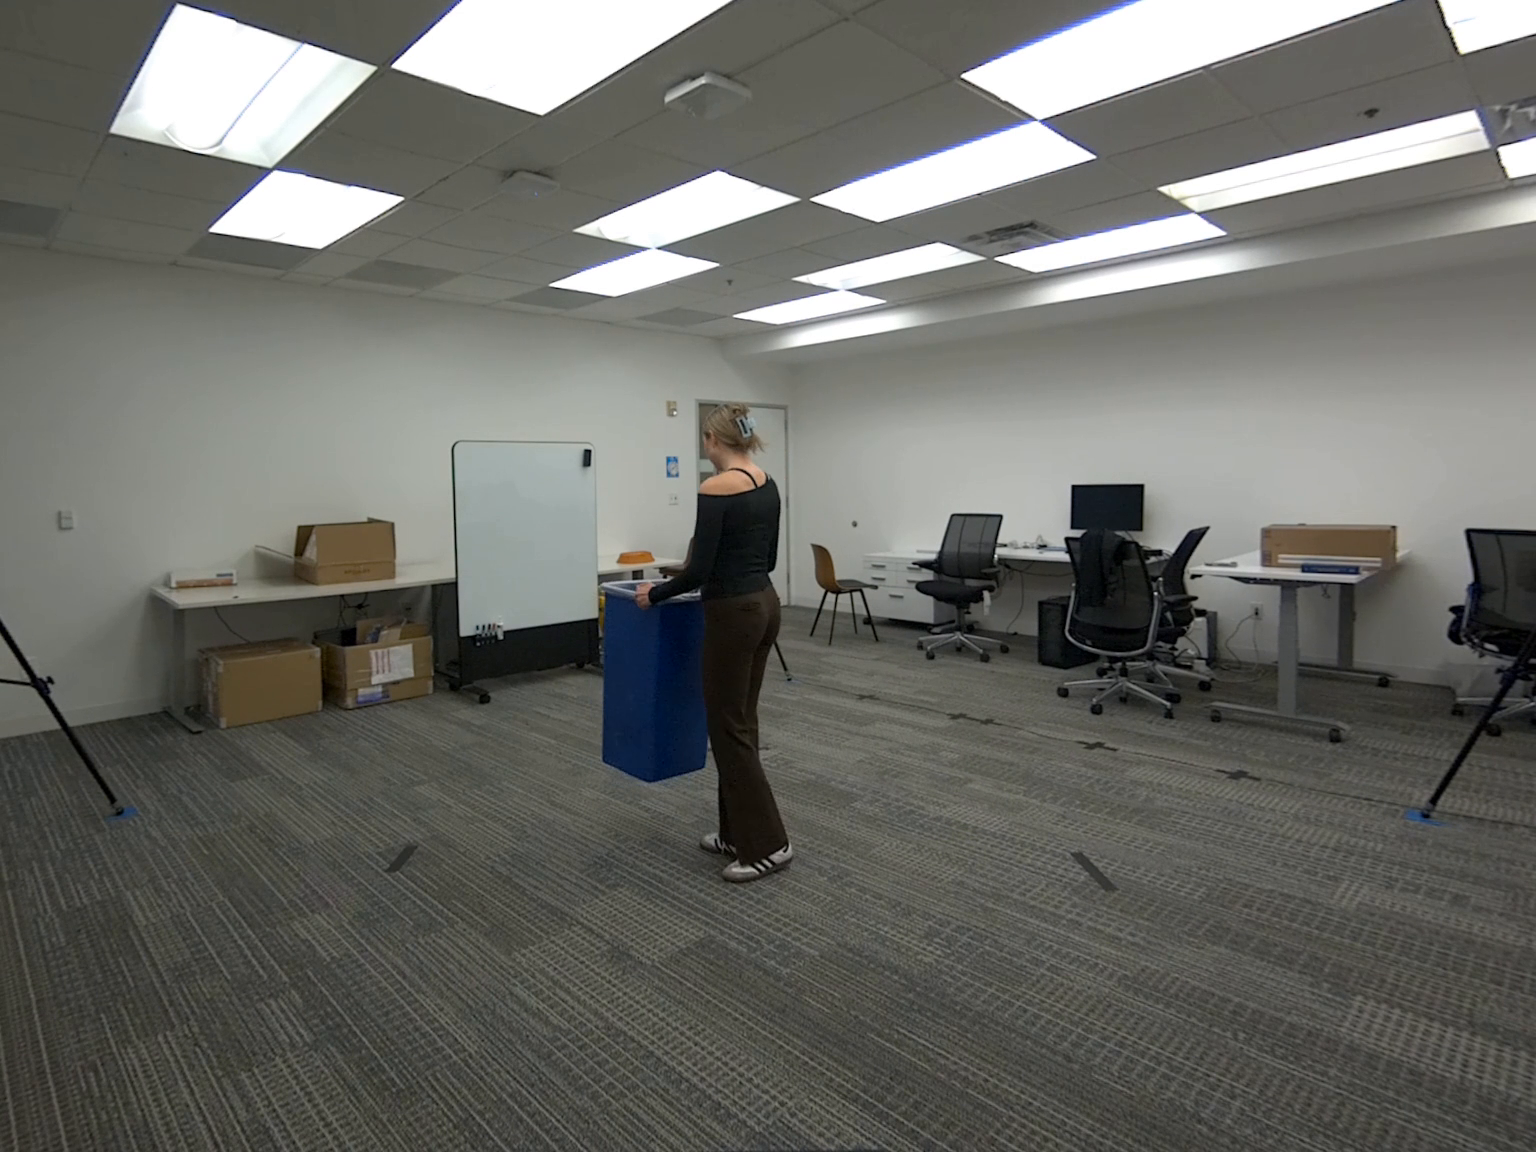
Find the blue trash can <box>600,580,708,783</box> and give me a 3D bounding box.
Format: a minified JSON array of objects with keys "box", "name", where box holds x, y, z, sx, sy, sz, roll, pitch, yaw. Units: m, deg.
[{"box":[-0.431,0.399,3.364,0.390,0.711,0.363,7,5,43],"name":"blue trash can"}]
